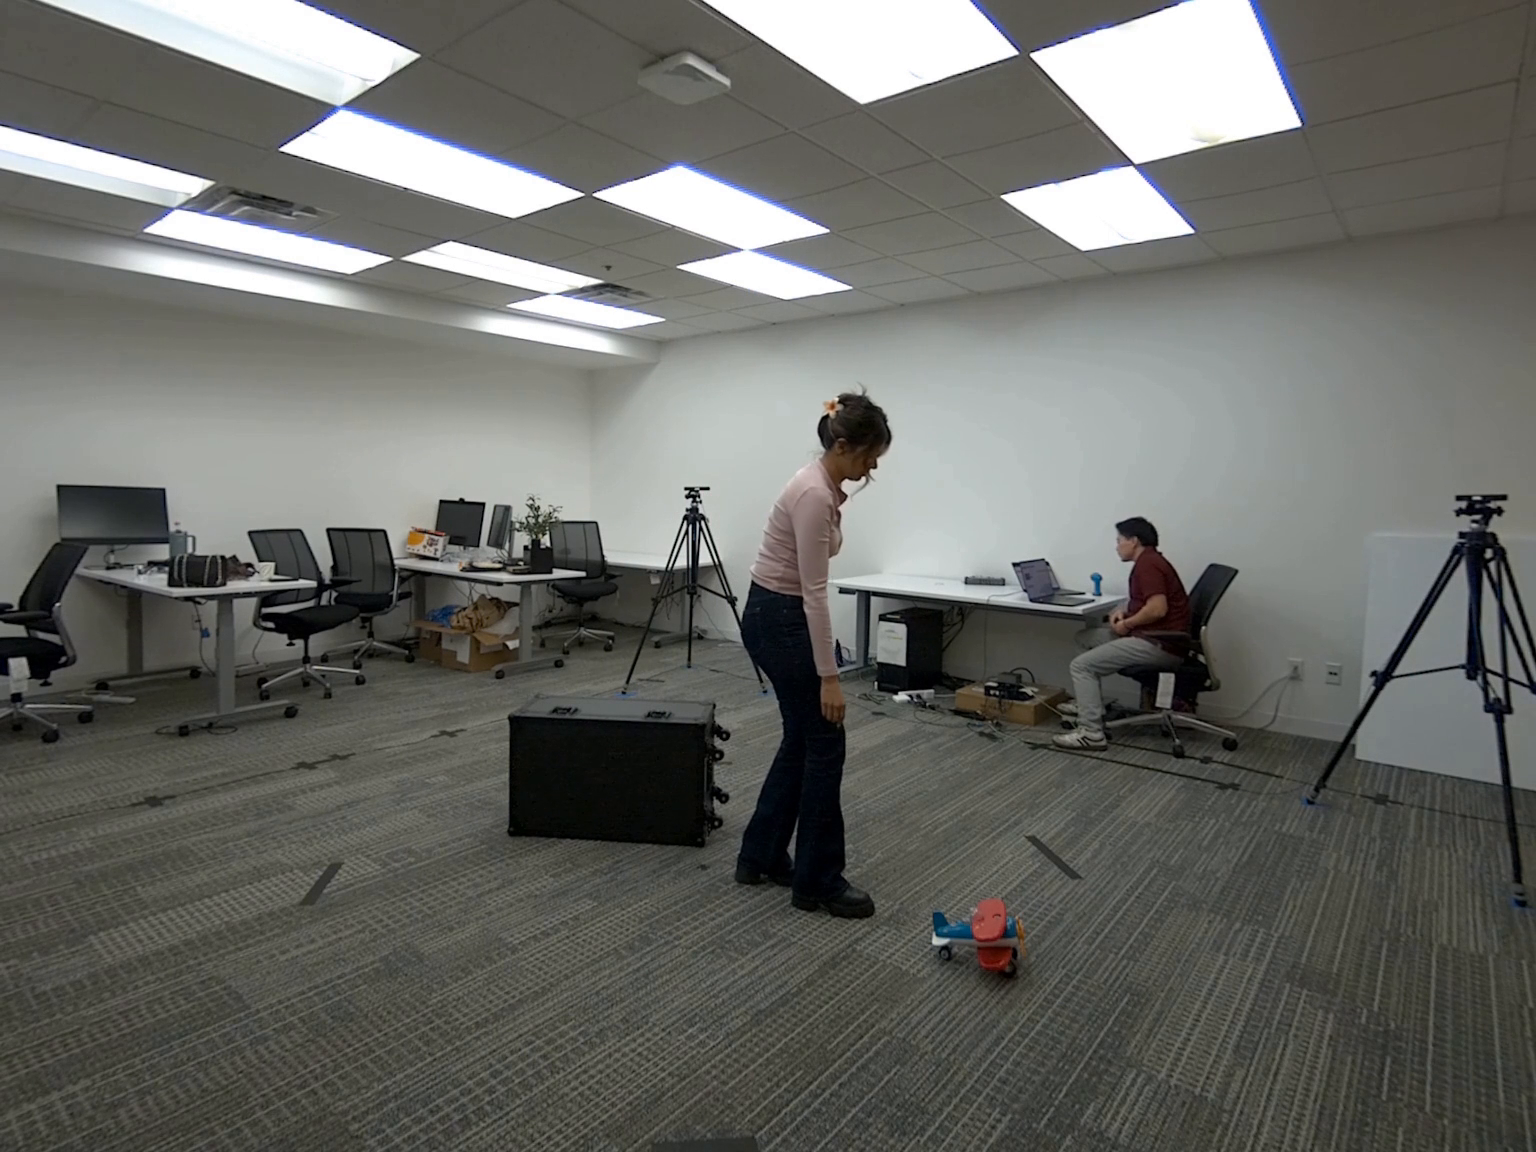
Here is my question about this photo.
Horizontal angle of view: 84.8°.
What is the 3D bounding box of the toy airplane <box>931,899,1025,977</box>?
[{"bbox_3d":[0.615,1.074,2.499,0.257,0.156,0.255,1,5,-10],"label":"toy airplane"}]
